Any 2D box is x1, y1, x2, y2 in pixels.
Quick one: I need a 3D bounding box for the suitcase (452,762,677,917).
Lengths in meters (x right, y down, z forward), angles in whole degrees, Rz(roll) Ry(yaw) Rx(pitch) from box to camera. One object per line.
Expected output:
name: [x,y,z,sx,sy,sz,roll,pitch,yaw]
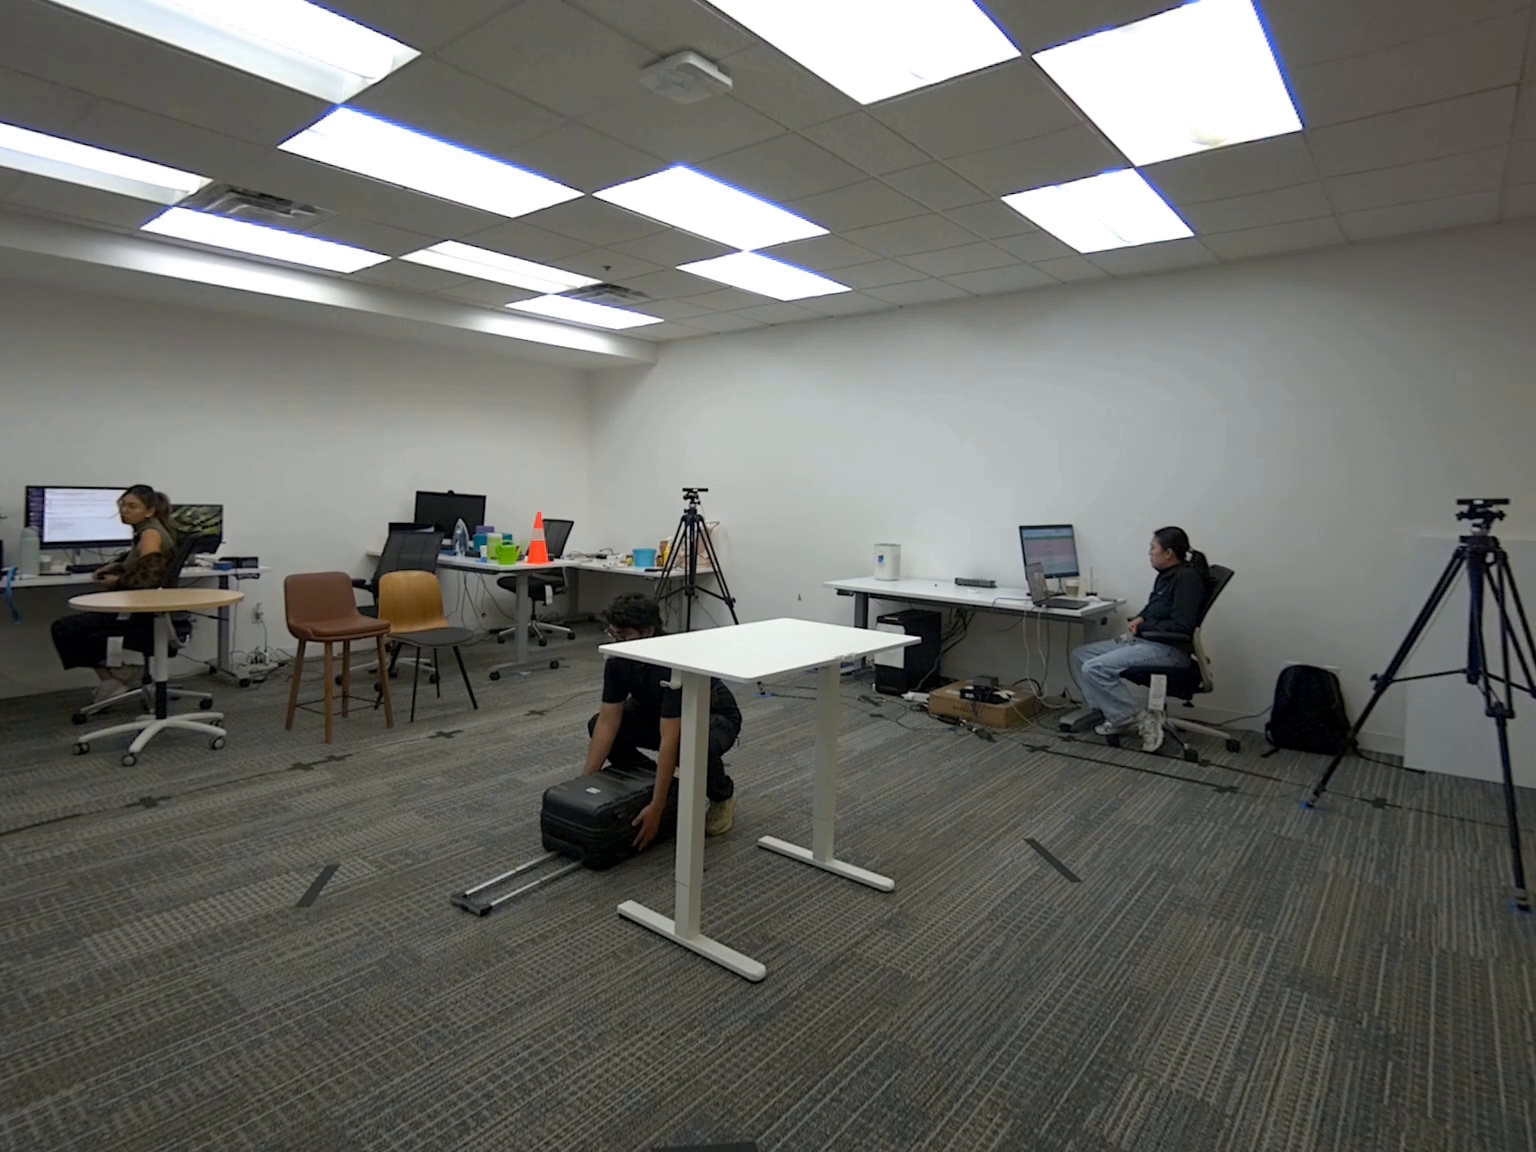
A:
suitcase: [-0.737,0.935,3.163,0.396,0.256,0.950,5,4,34]
